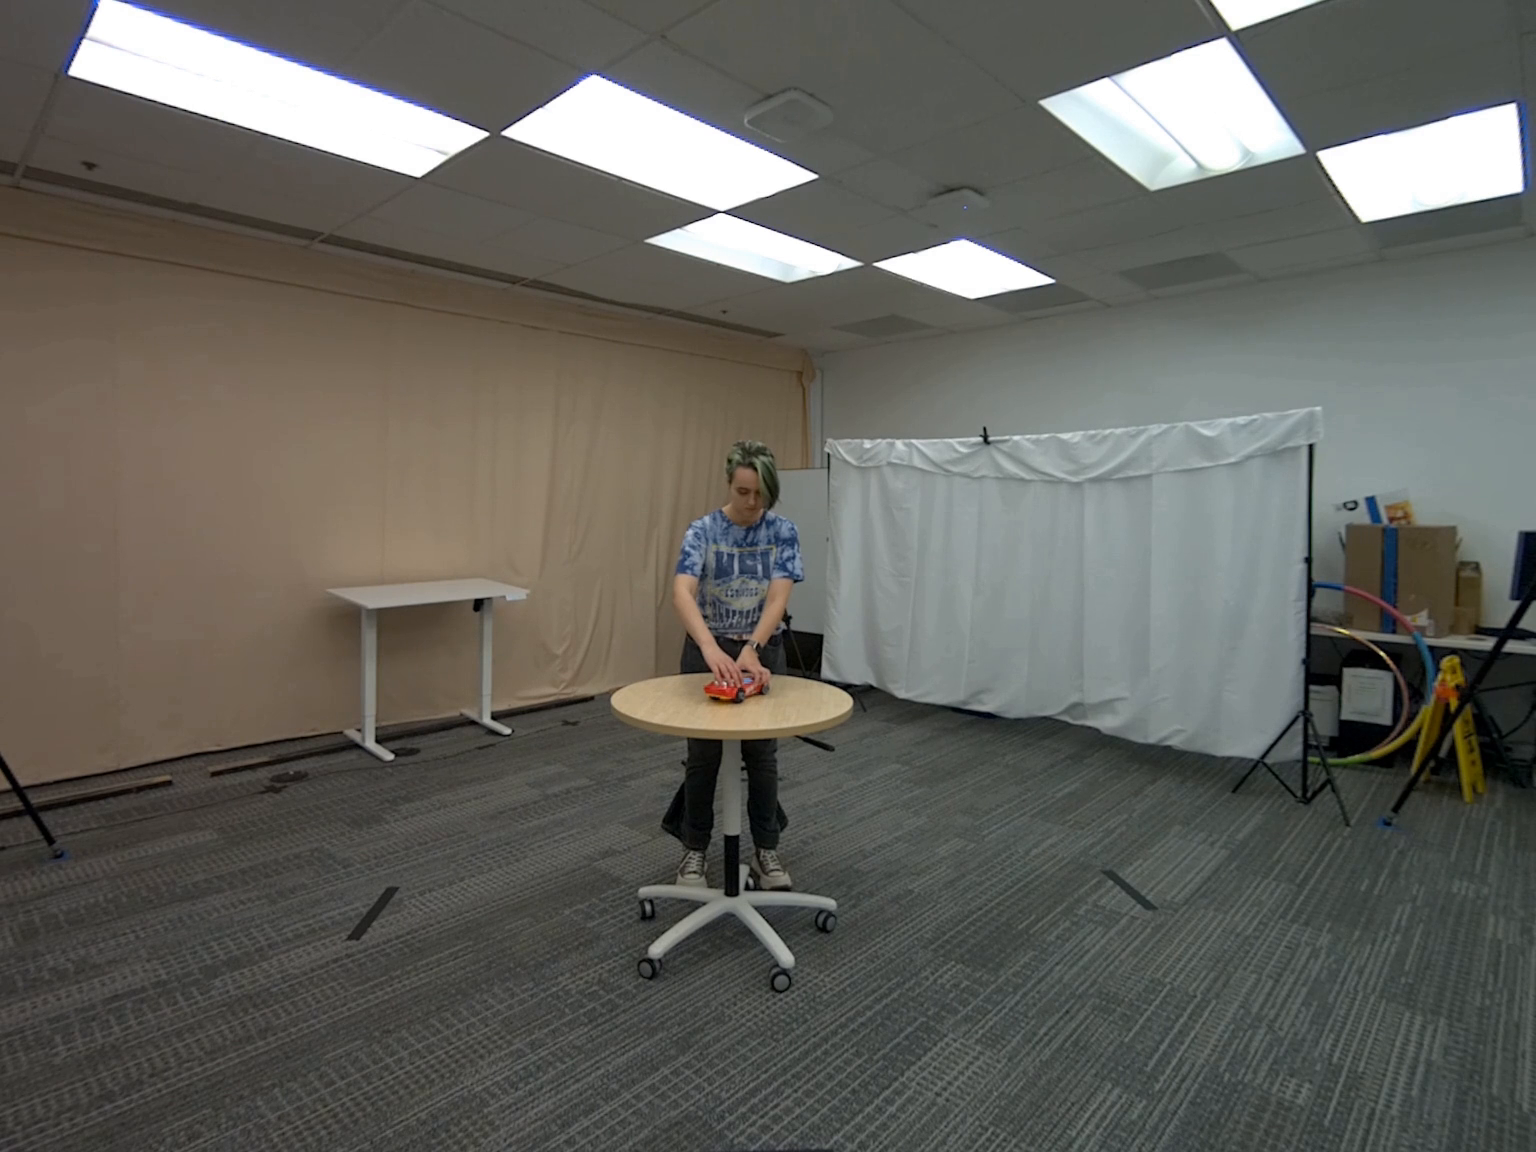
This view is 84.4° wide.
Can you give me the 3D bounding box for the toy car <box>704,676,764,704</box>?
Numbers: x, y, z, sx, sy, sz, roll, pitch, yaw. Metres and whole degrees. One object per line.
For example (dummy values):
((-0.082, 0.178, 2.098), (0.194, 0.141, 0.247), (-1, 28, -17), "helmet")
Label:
((-0.104, 0.357, 2.671), (0.134, 0.083, 0.246), (4, -4, 33), "toy car")
